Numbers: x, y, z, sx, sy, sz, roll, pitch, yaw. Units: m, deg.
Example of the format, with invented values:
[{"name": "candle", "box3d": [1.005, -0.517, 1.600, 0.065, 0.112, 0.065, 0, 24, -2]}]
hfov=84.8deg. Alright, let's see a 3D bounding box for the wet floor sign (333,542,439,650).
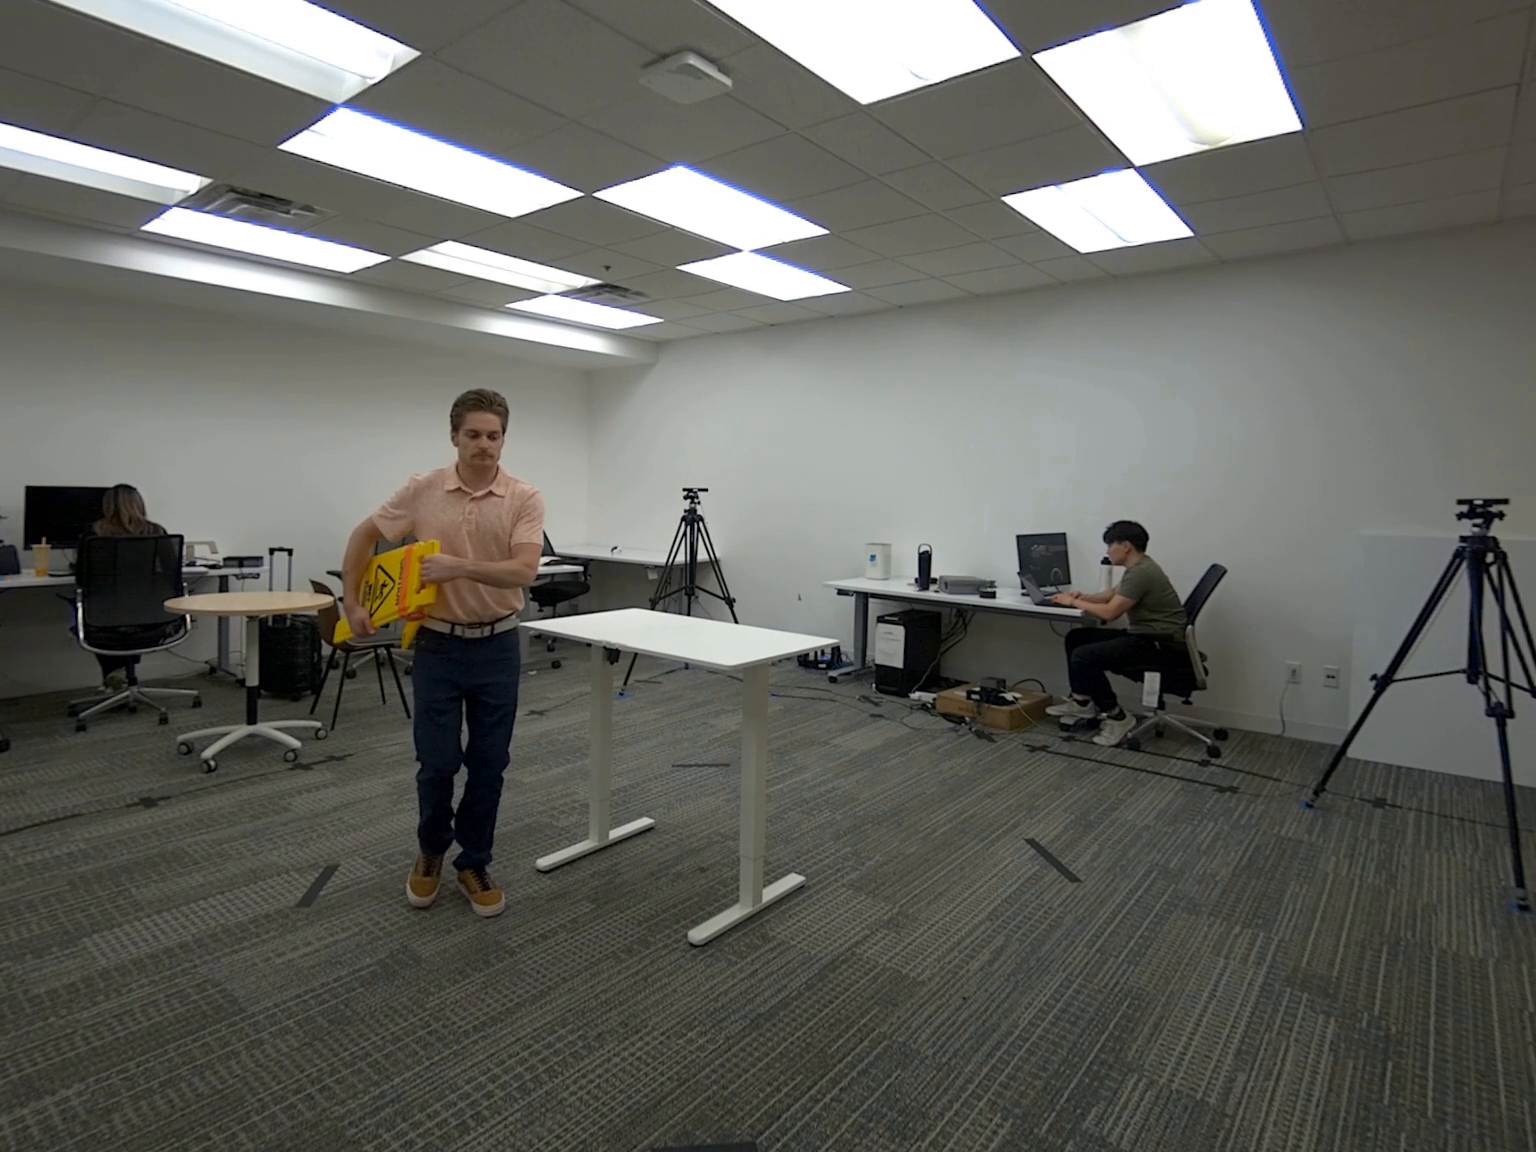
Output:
[{"name": "wet floor sign", "box3d": [-1.221, 0.057, 2.783, 0.280, 0.287, 0.658, 11, -19, -34]}]
